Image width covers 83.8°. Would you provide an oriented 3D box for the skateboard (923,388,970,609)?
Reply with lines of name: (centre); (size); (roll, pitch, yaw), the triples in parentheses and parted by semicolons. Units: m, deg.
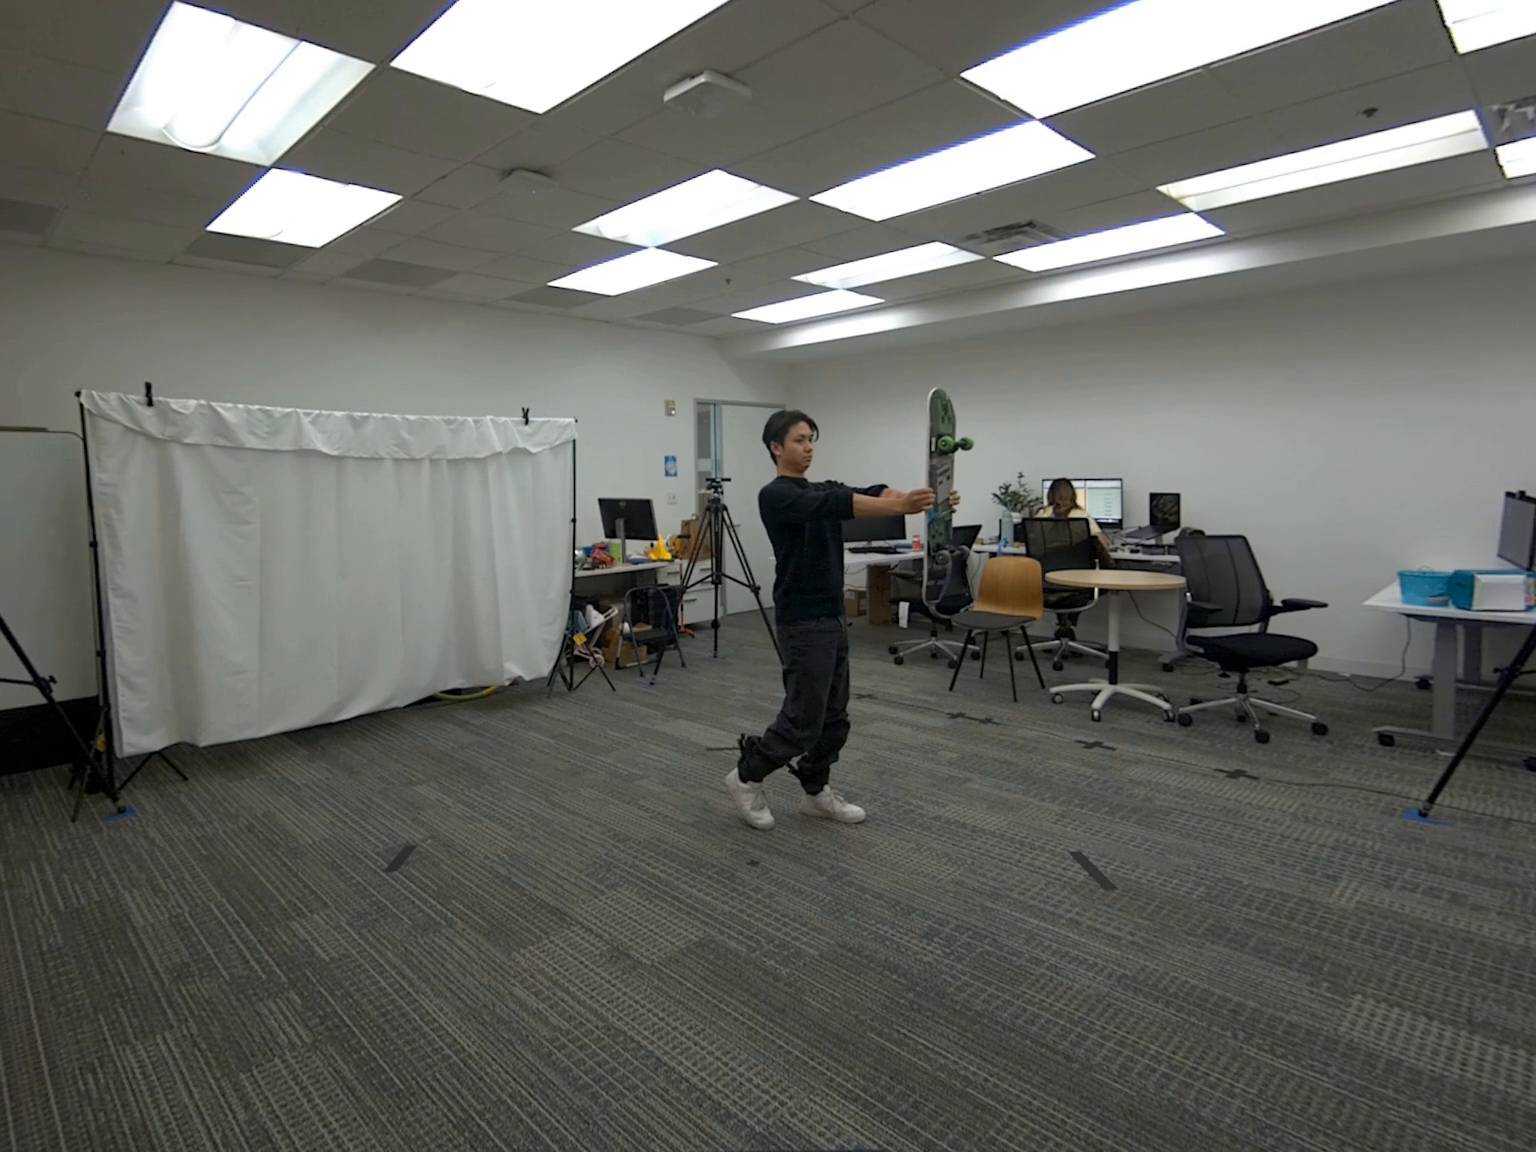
skateboard: (0.640, -0.273, 3.066); (0.114, 0.780, 0.189); (5, 9, 40)
